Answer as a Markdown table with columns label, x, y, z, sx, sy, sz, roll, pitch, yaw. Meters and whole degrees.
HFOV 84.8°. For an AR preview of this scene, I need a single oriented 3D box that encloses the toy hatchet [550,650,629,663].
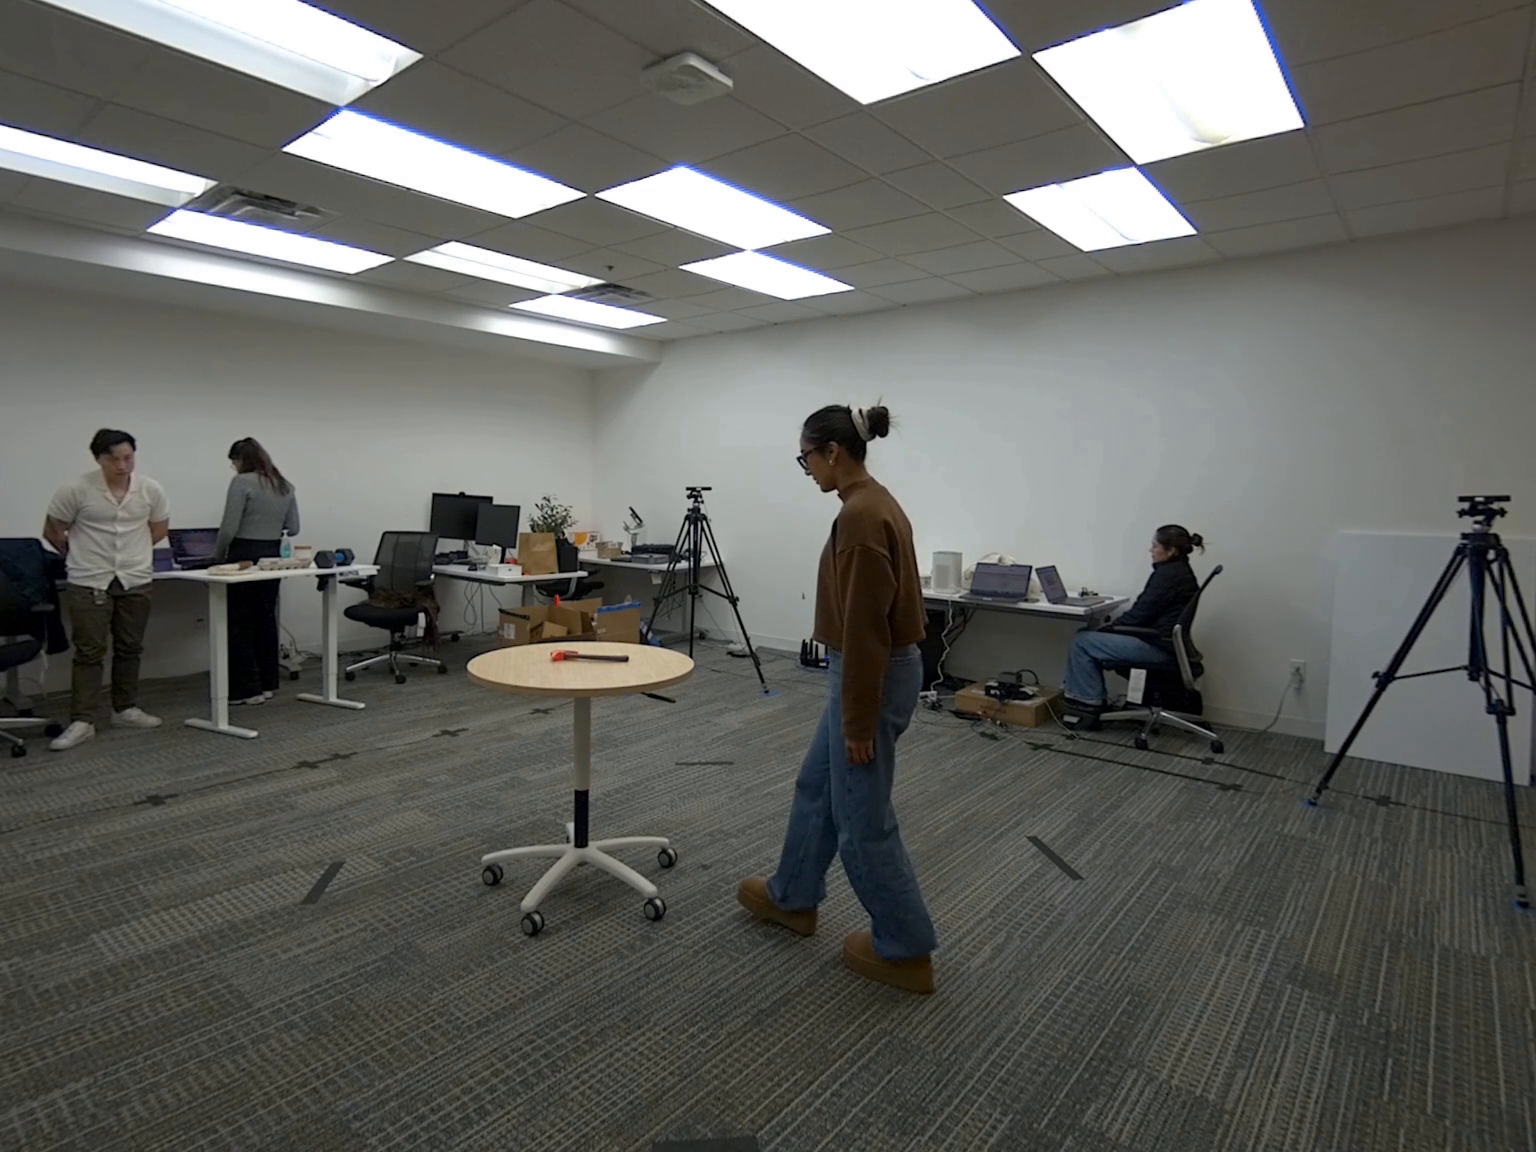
| label | x | y | z | sx | sy | sz | roll | pitch | yaw |
| --- | --- | --- | --- | --- | --- | --- | --- | --- | --- |
| toy hatchet | -0.640 | 0.280 | 2.986 | 0.267 | 0.029 | 0.132 | 2 | 2 | -9 |
